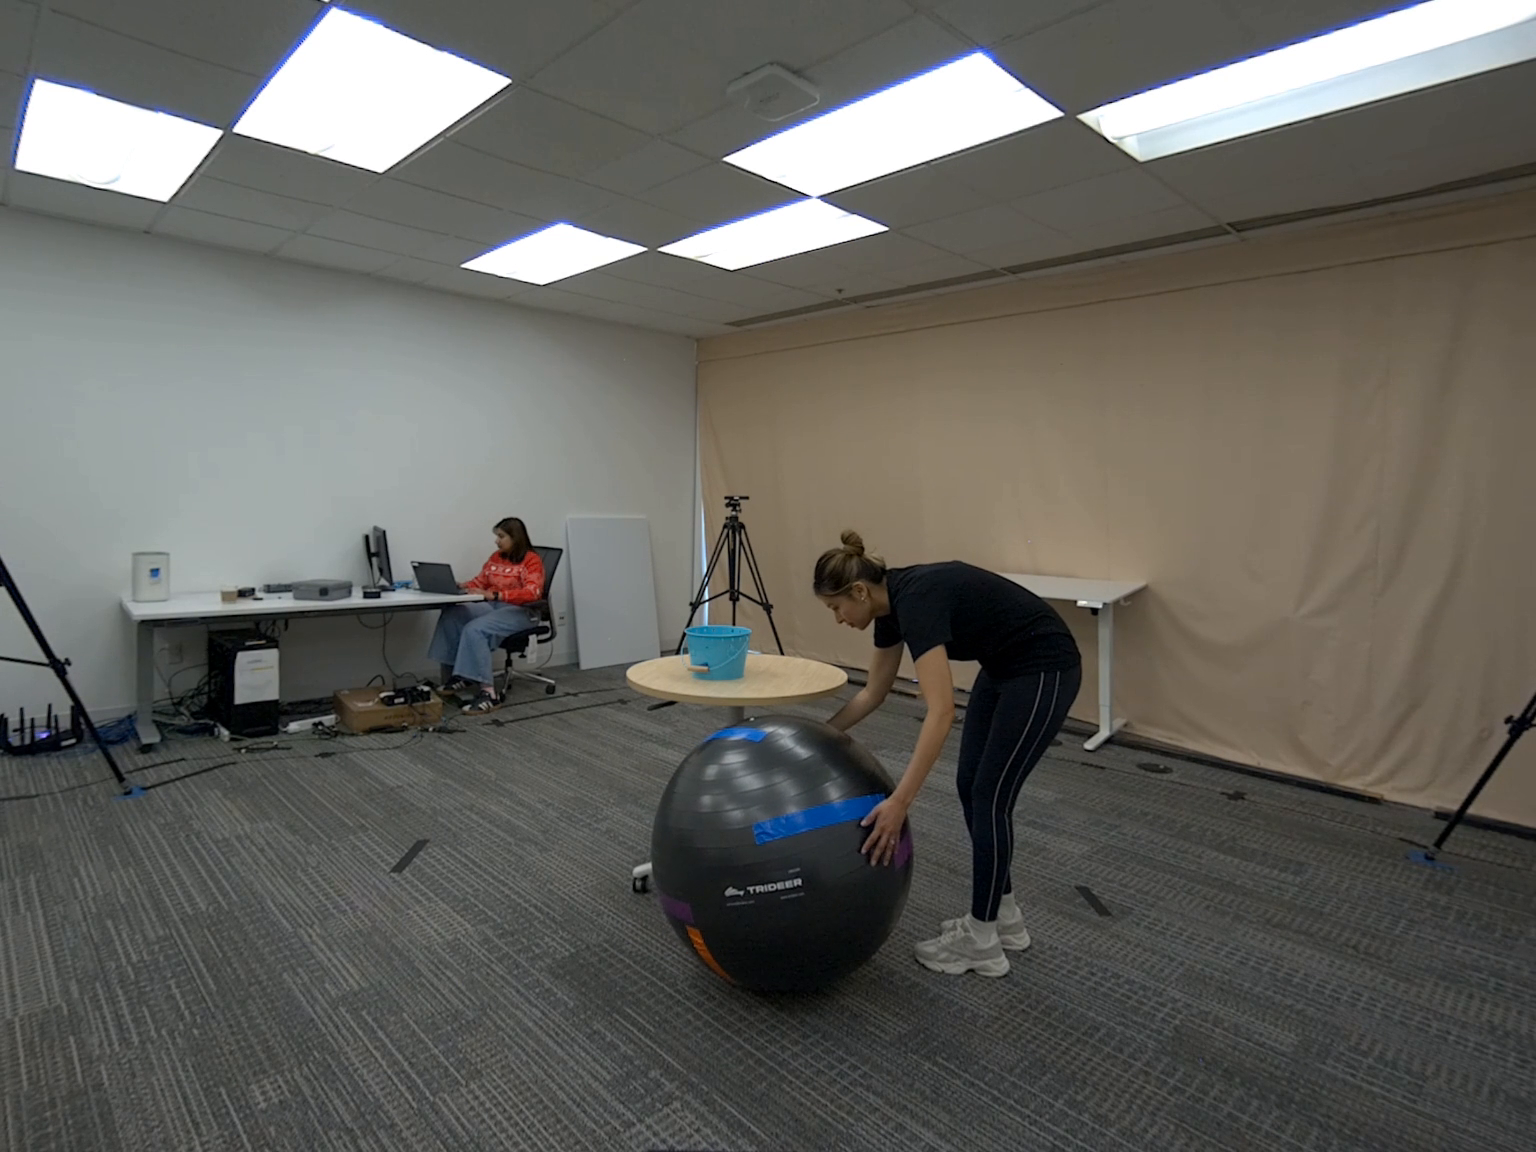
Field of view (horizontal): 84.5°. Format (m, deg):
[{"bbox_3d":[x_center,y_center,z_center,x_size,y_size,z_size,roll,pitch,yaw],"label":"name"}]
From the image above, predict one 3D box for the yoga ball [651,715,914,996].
[{"bbox_3d":[0.034,0.805,2.441,0.757,0.756,0.761,1,4,-1],"label":"yoga ball"}]
